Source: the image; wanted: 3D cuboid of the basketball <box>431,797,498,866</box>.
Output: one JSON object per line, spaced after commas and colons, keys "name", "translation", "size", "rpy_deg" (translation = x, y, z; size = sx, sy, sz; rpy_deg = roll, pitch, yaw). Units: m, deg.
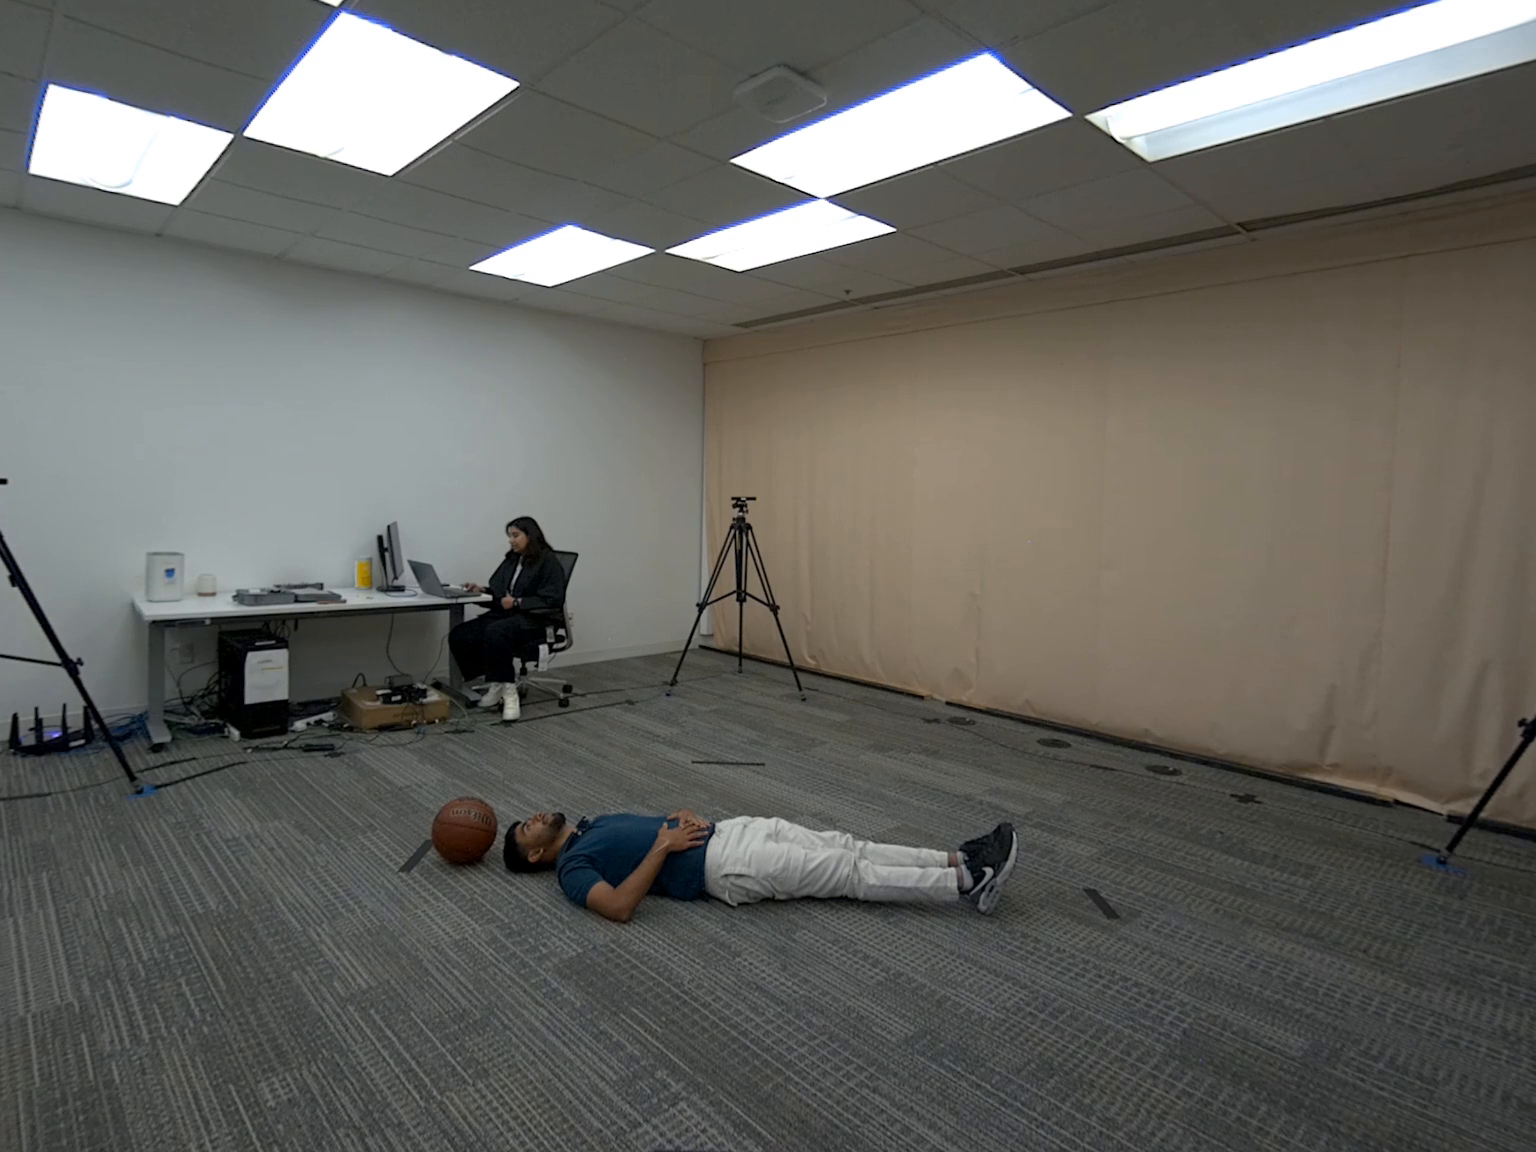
{"name": "basketball", "translation": [-1.155, 0.958, 3.179], "size": [0.236, 0.235, 0.237], "rpy_deg": [1, 4, -1]}
